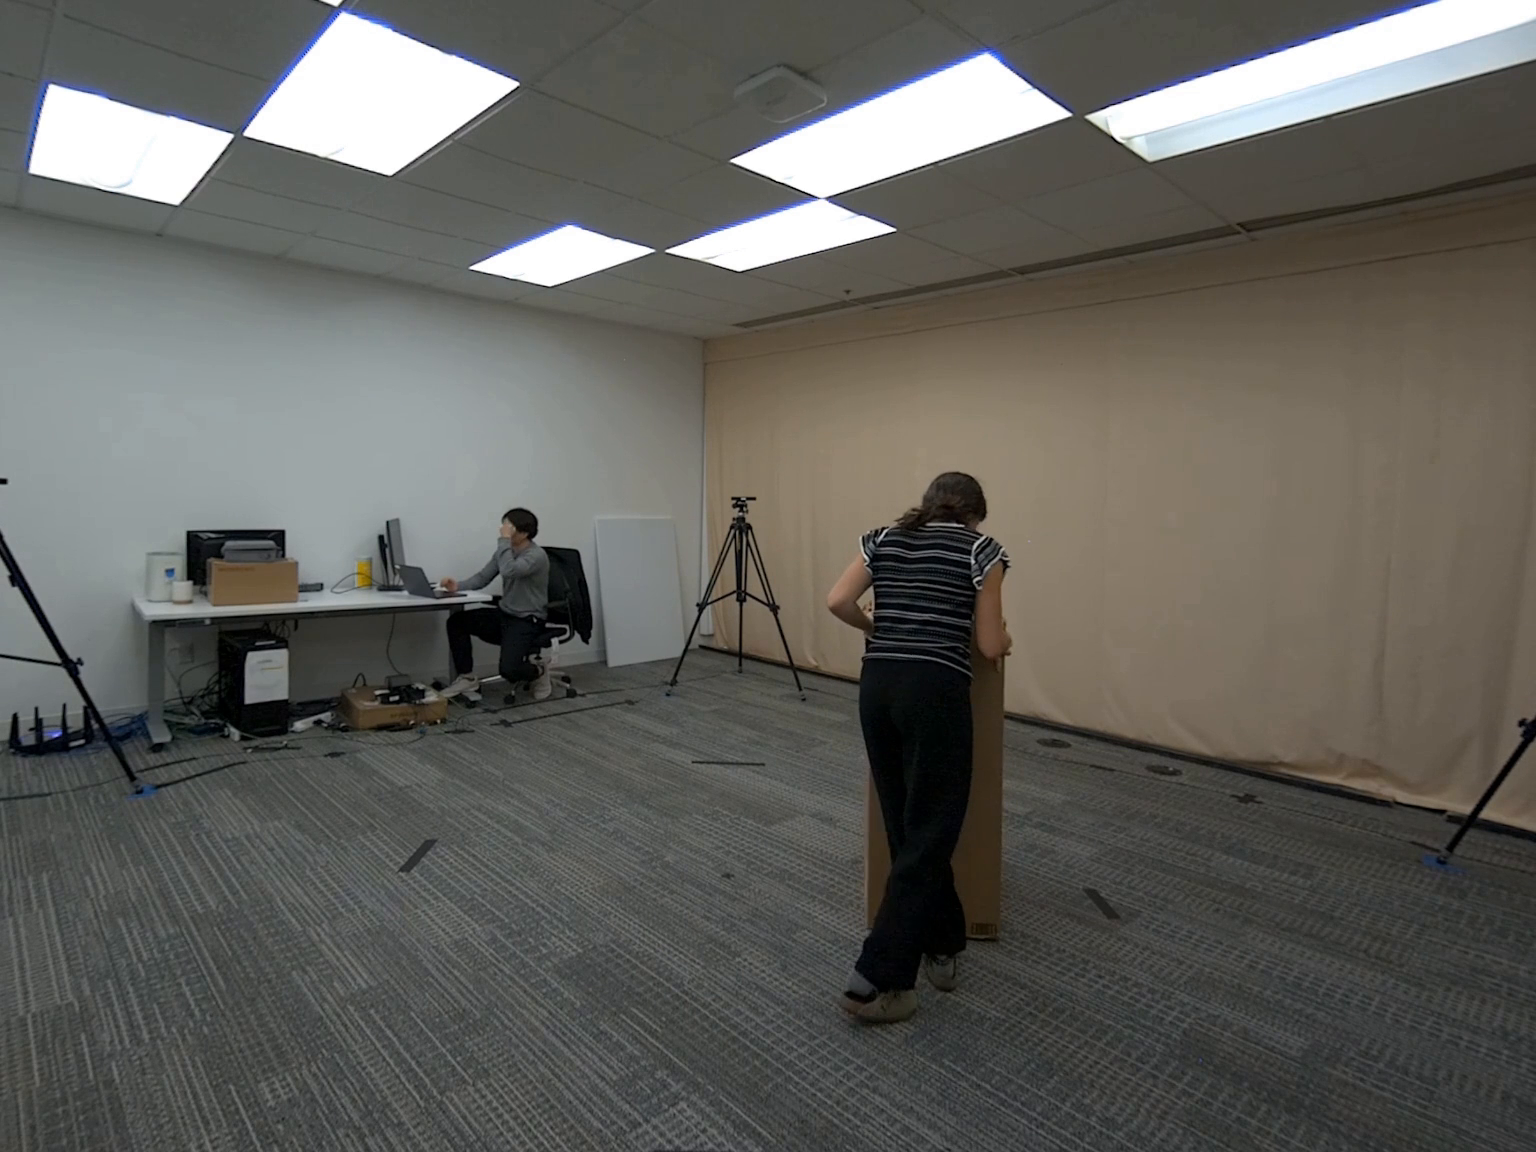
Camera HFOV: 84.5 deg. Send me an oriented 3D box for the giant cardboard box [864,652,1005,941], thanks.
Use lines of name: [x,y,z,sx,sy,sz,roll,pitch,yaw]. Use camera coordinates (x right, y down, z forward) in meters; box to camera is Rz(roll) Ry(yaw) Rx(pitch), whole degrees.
giant cardboard box: [0.561,0.629,2.964,0.429,1.024,0.574,1,3,8]
